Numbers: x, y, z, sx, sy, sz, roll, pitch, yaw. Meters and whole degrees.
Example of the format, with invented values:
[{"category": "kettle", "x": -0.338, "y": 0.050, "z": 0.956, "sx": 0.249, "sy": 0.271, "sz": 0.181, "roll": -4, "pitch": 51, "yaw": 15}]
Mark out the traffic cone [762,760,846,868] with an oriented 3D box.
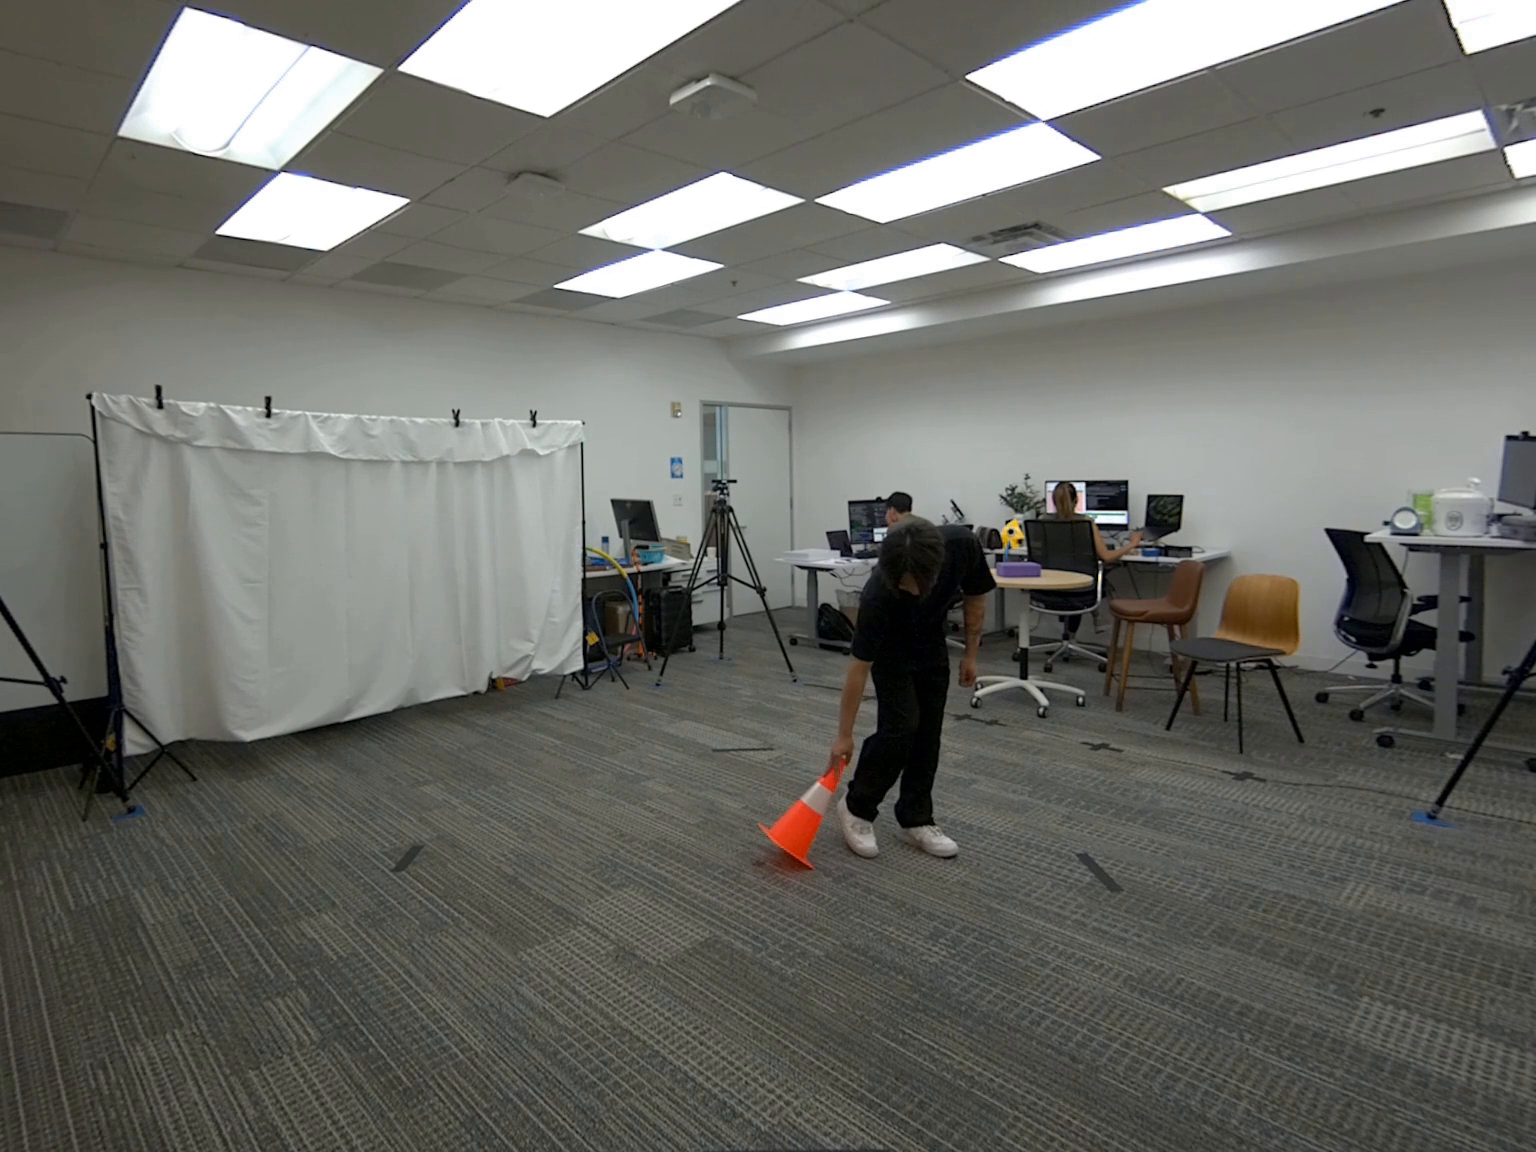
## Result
[{"category": "traffic cone", "x": 0.168, "y": 0.834, "z": 3.143, "sx": 0.200, "sy": 0.384, "sz": 0.208, "roll": 37, "pitch": -8, "yaw": -19}]
